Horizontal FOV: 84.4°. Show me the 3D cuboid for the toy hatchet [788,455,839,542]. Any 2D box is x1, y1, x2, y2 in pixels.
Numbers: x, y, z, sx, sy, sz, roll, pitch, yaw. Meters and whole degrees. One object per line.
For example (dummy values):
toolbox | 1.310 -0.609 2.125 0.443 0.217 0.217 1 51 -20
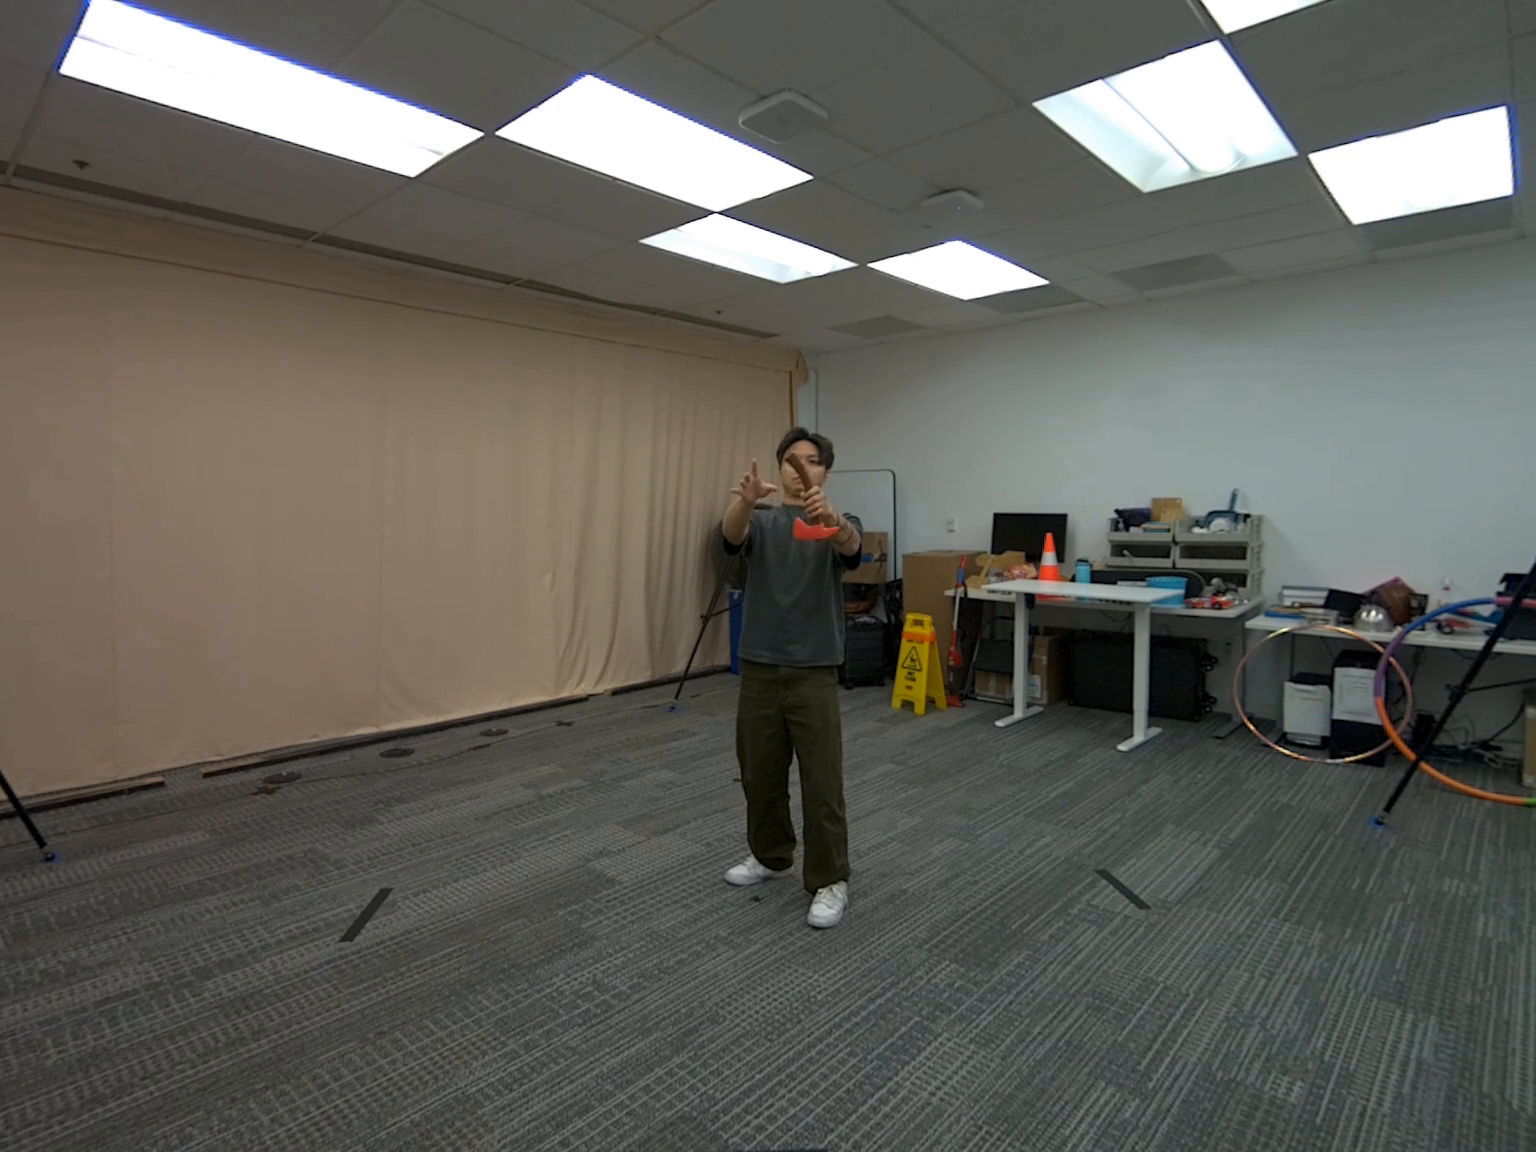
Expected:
toy hatchet | 0.084 -0.222 2.459 0.132 0.267 0.029 -25 10 17
